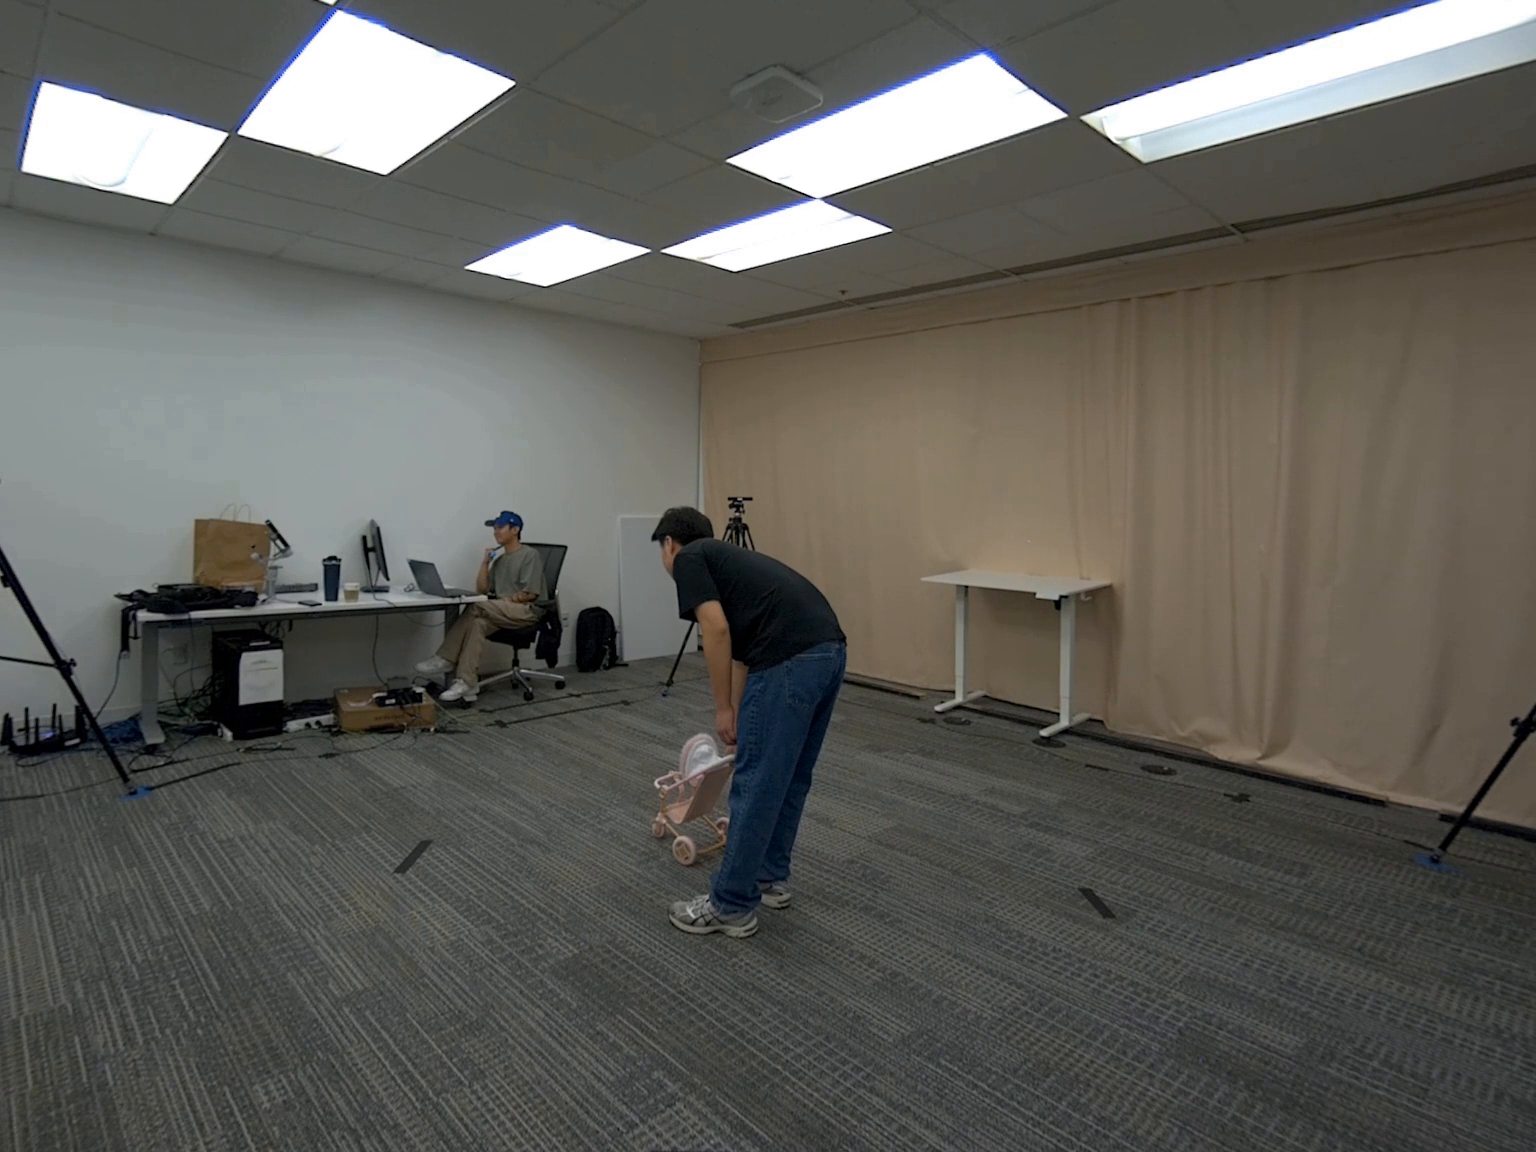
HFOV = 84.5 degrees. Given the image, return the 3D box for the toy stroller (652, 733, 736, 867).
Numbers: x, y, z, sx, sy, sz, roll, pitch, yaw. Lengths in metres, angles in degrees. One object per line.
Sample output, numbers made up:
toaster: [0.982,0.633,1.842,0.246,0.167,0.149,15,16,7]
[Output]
toy stroller: [-0.295,0.859,3.321,0.352,0.531,0.275,25,17,39]
